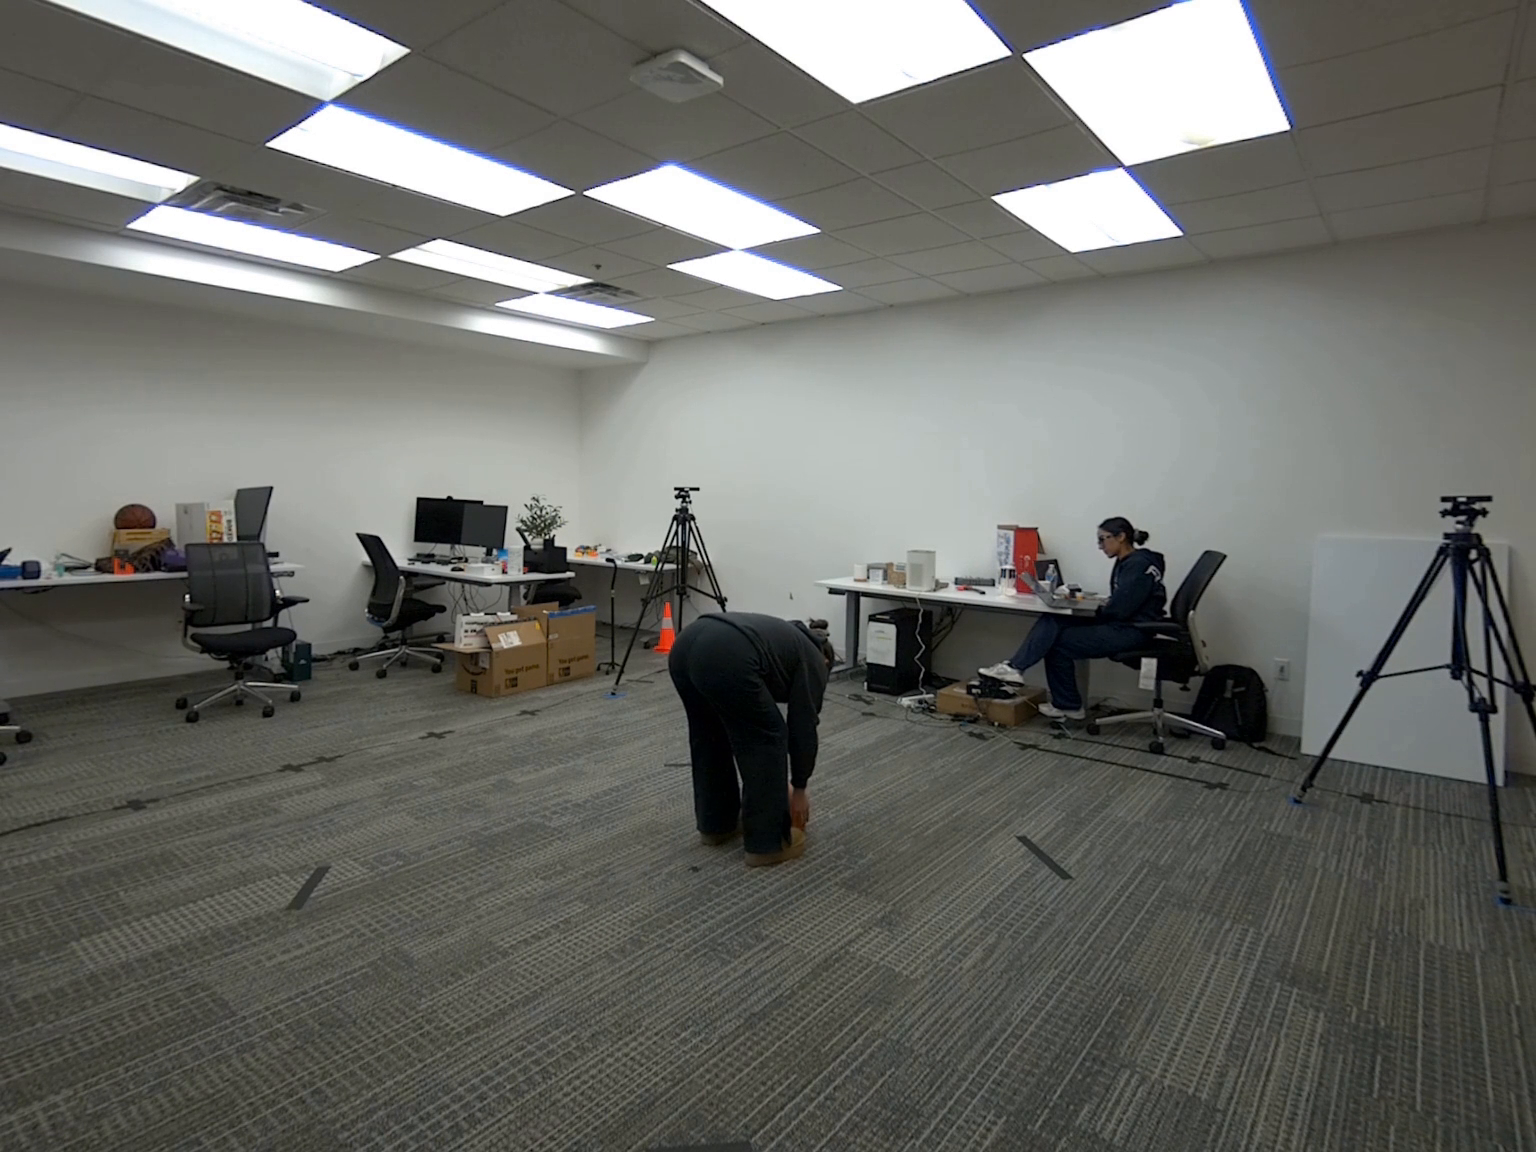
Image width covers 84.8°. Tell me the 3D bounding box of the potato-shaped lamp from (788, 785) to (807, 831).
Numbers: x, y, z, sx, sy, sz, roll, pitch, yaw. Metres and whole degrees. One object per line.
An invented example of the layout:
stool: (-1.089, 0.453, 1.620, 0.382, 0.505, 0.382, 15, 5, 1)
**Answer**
potato-shaped lamp: (0.074, 0.935, 3.468, 0.170, 0.197, 0.166, 5, 6, 43)
